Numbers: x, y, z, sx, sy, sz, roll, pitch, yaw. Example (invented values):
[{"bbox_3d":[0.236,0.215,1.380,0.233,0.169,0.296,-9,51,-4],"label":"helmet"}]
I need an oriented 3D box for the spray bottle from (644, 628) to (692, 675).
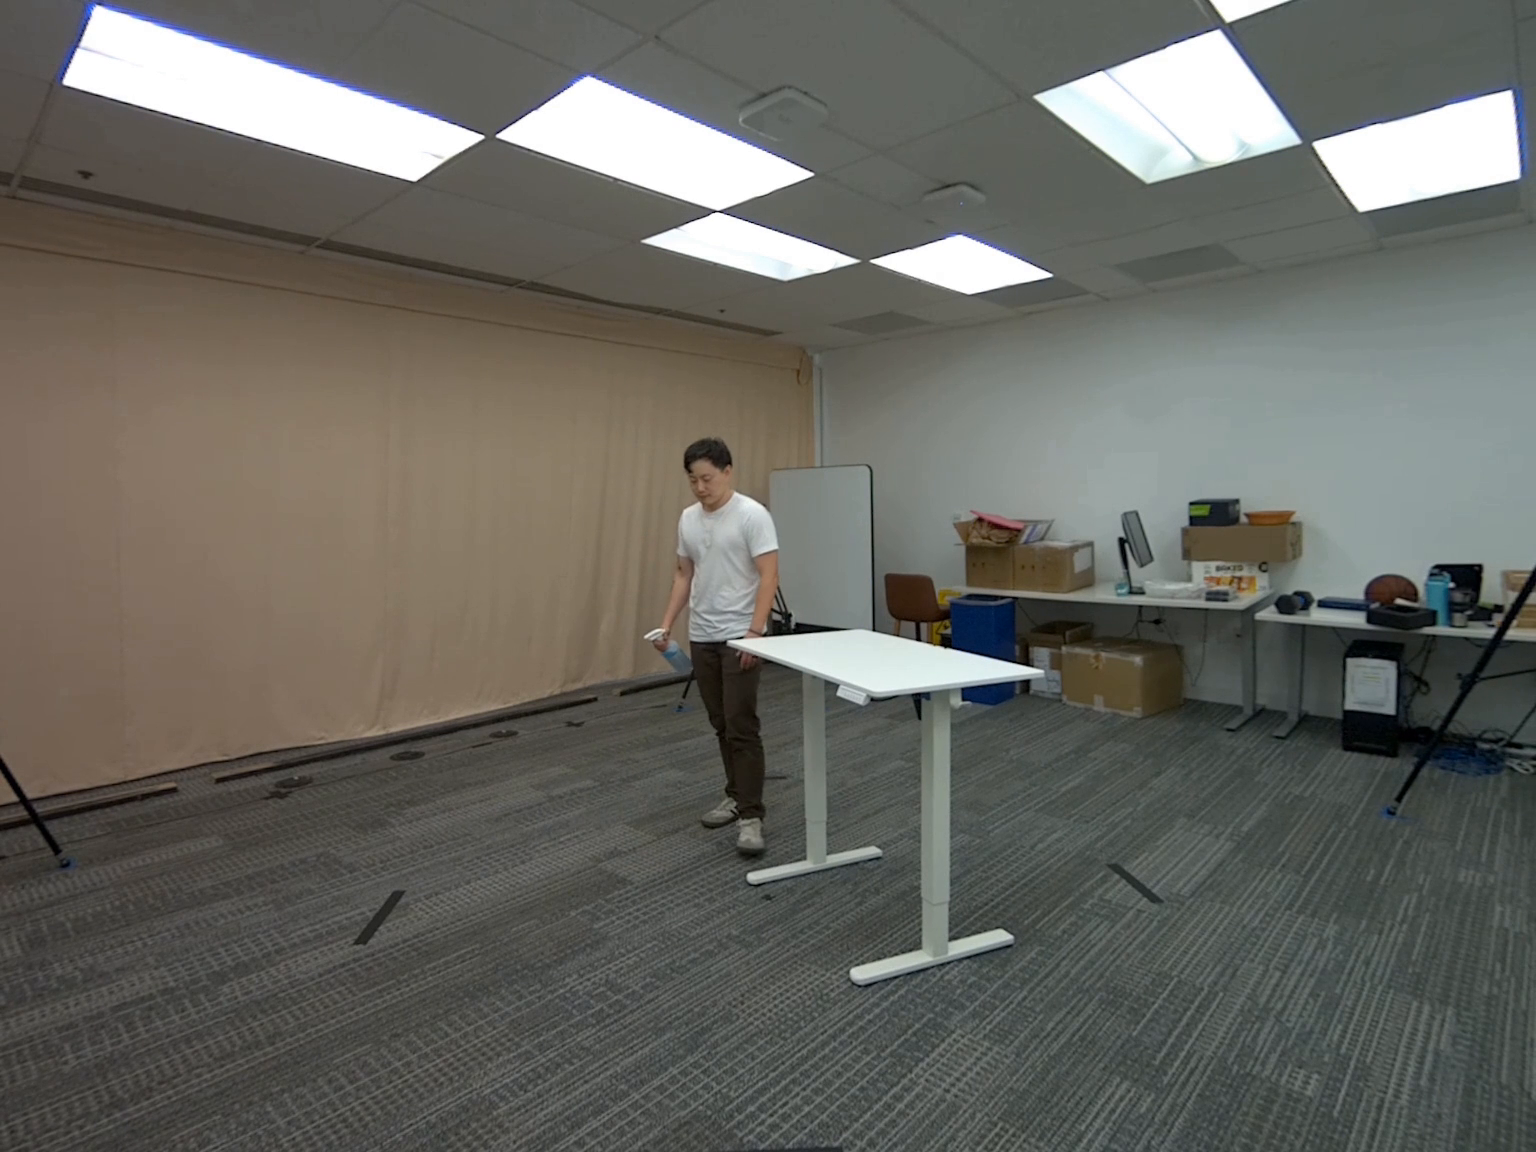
[{"bbox_3d":[-0.430,0.330,3.742,0.092,0.088,0.287,-15,-46,23],"label":"spray bottle"}]
